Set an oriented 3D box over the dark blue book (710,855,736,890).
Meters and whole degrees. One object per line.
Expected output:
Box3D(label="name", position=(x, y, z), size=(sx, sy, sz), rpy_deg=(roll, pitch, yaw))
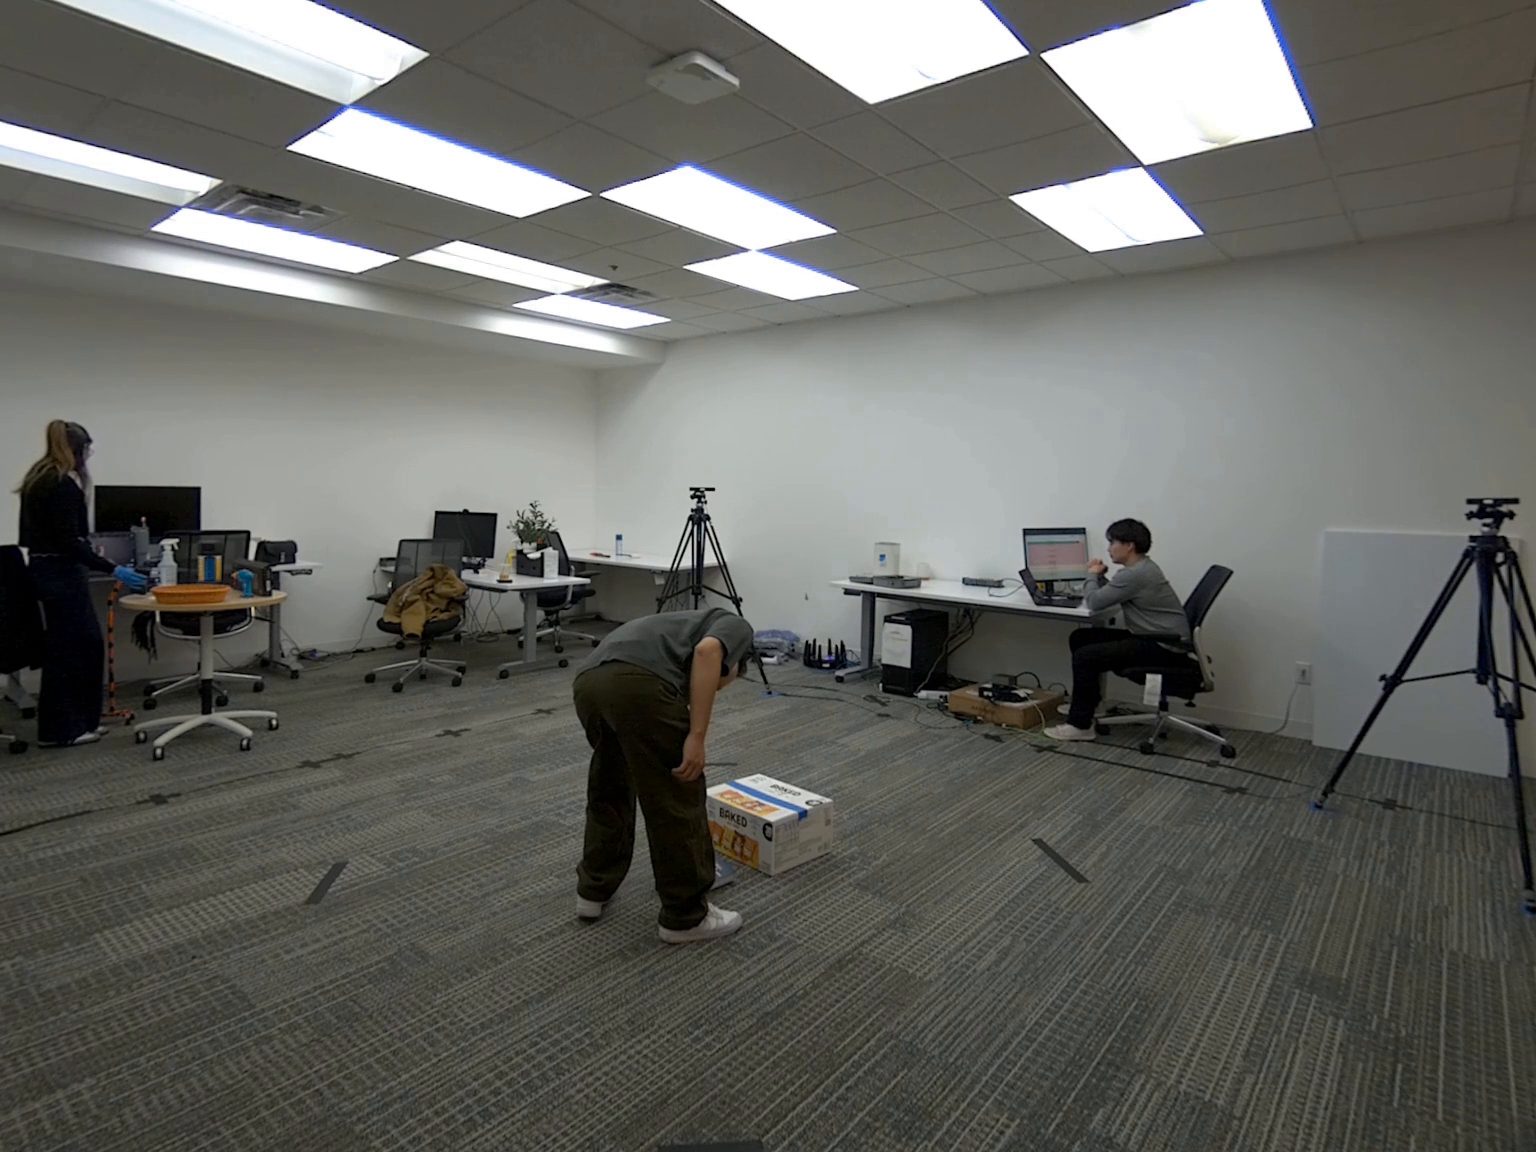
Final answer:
Box3D(label="dark blue book", position=(-0.261, 1.036, 2.971), size=(0.237, 0.045, 0.170), rpy_deg=(-3, 19, -45))
